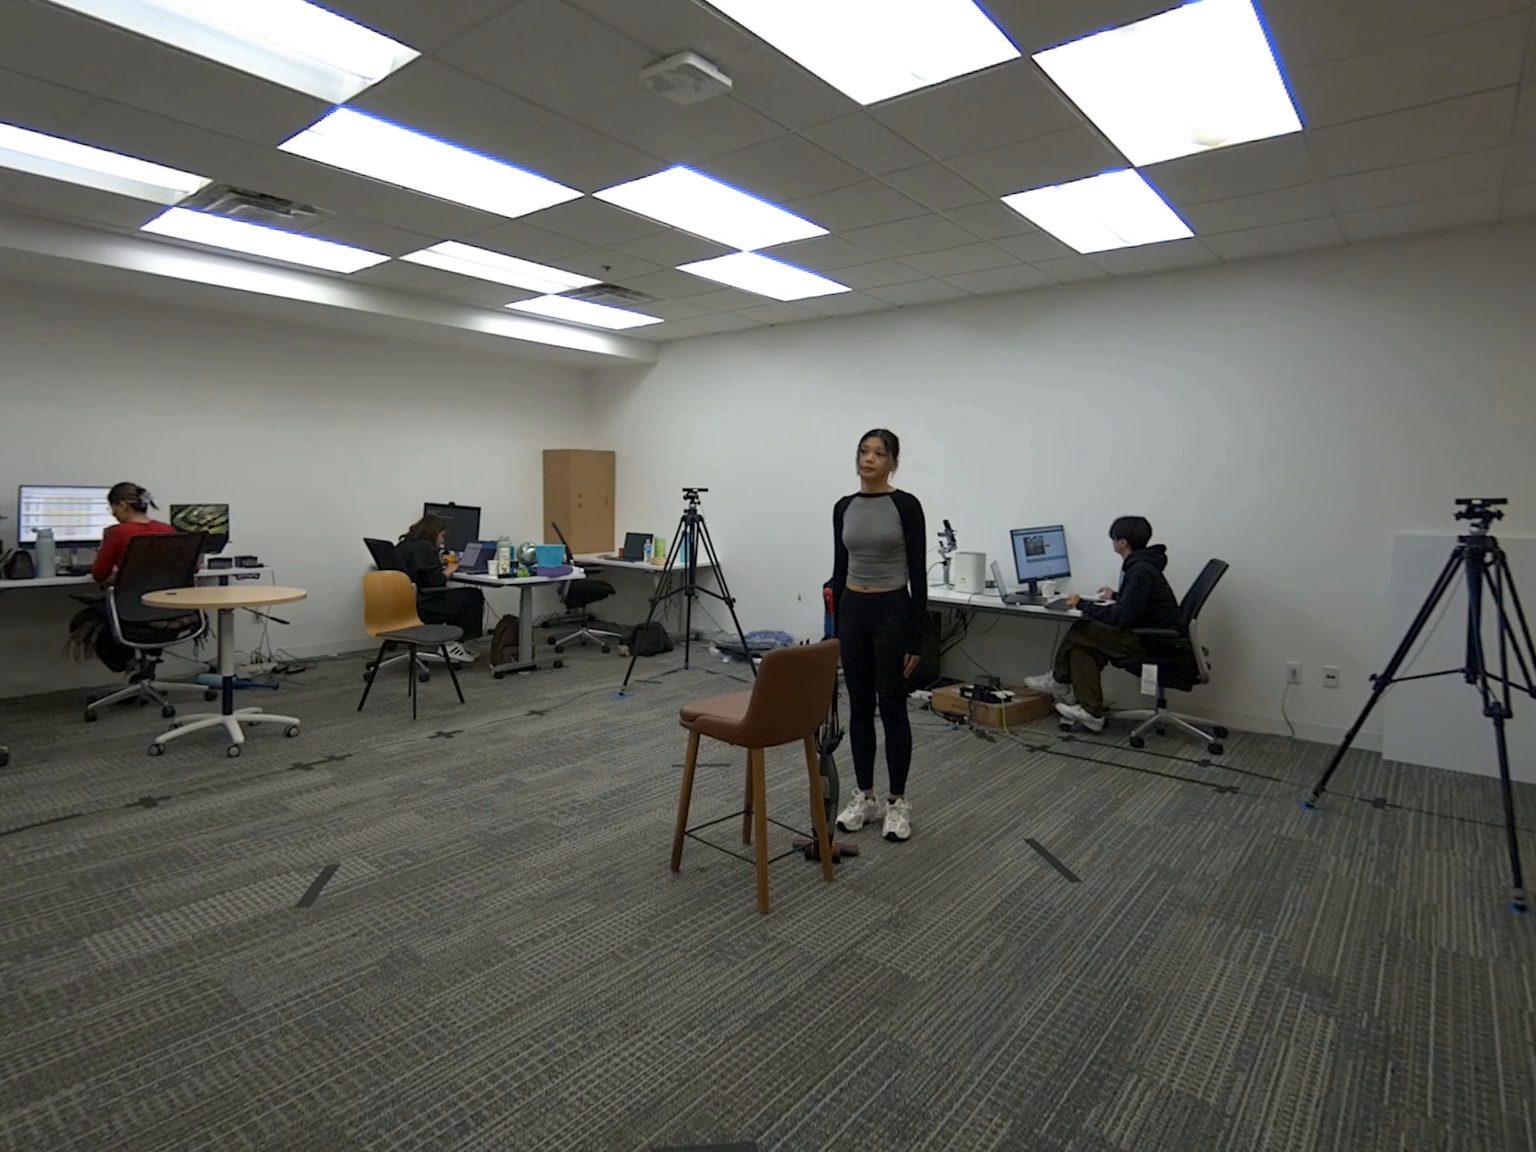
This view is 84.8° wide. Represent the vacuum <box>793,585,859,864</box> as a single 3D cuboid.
[{"bbox_3d":[0.204,0.554,3.166,0.245,1.045,0.148,-7,5,-41],"label":"vacuum"}]
